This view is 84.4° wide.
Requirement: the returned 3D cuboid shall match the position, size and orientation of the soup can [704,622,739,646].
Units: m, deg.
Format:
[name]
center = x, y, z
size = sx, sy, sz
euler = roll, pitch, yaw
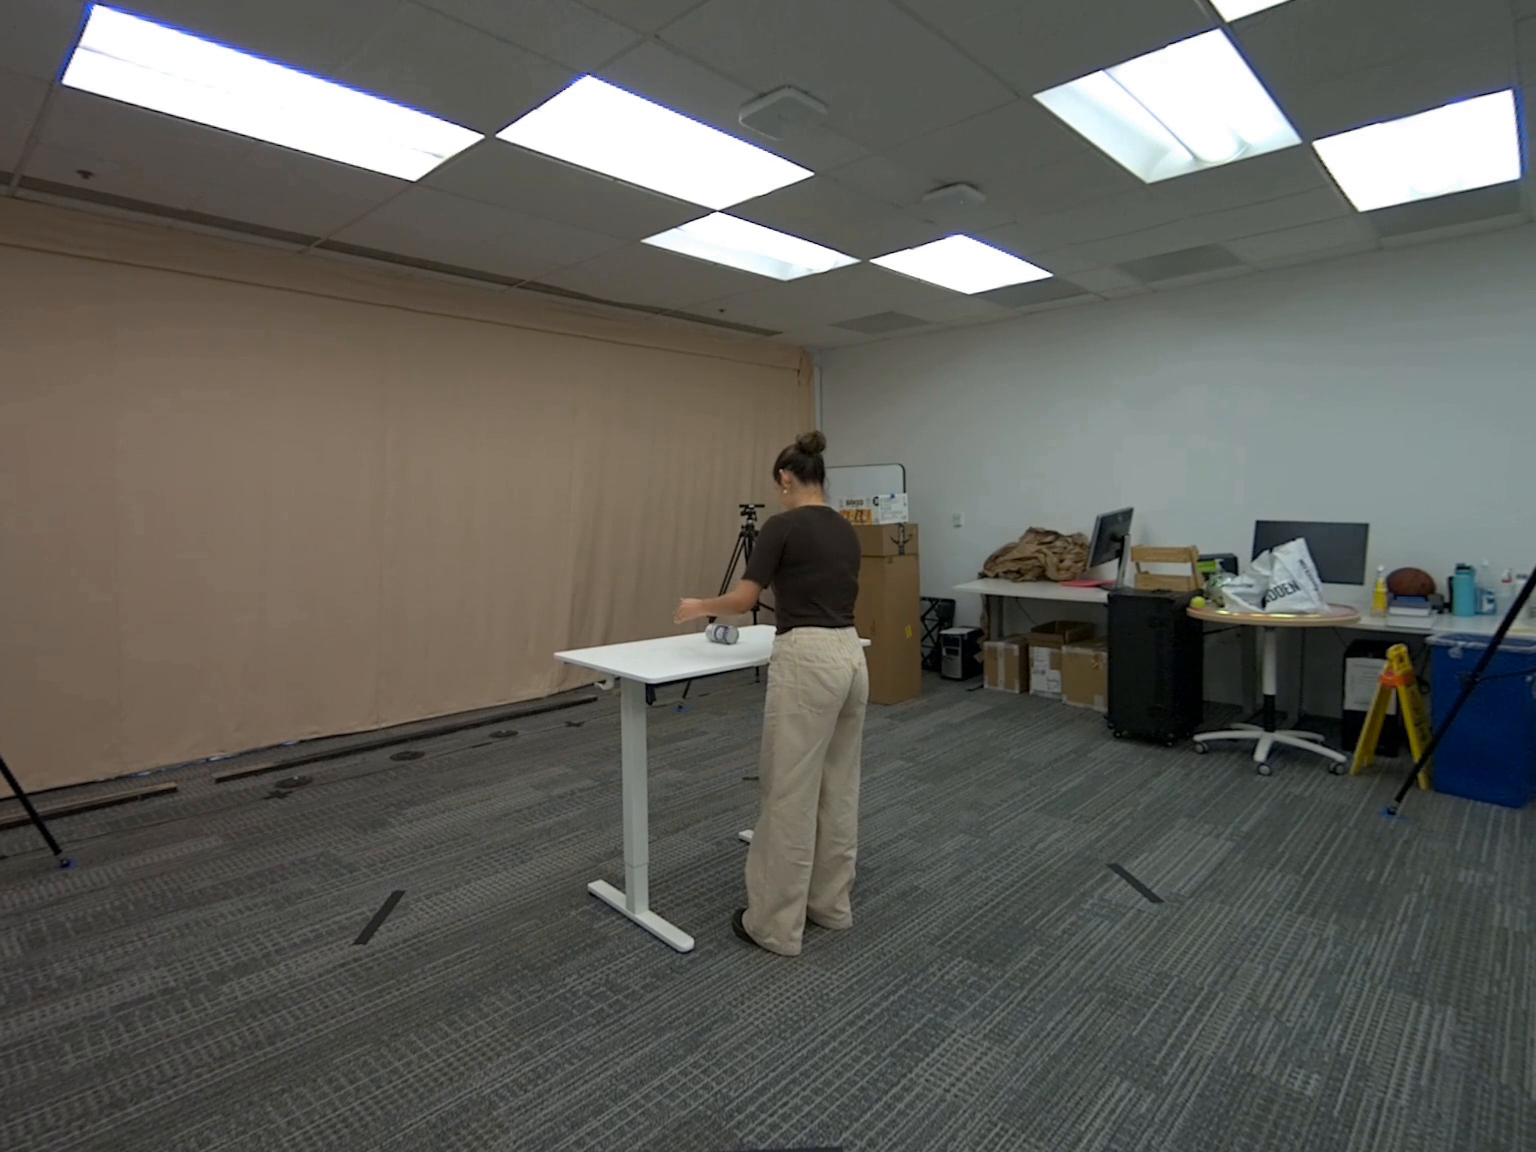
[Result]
[soup can]
center = -0.163, 0.214, 3.124
size = 0.125, 0.067, 0.065
euler = 4, 6, 43
